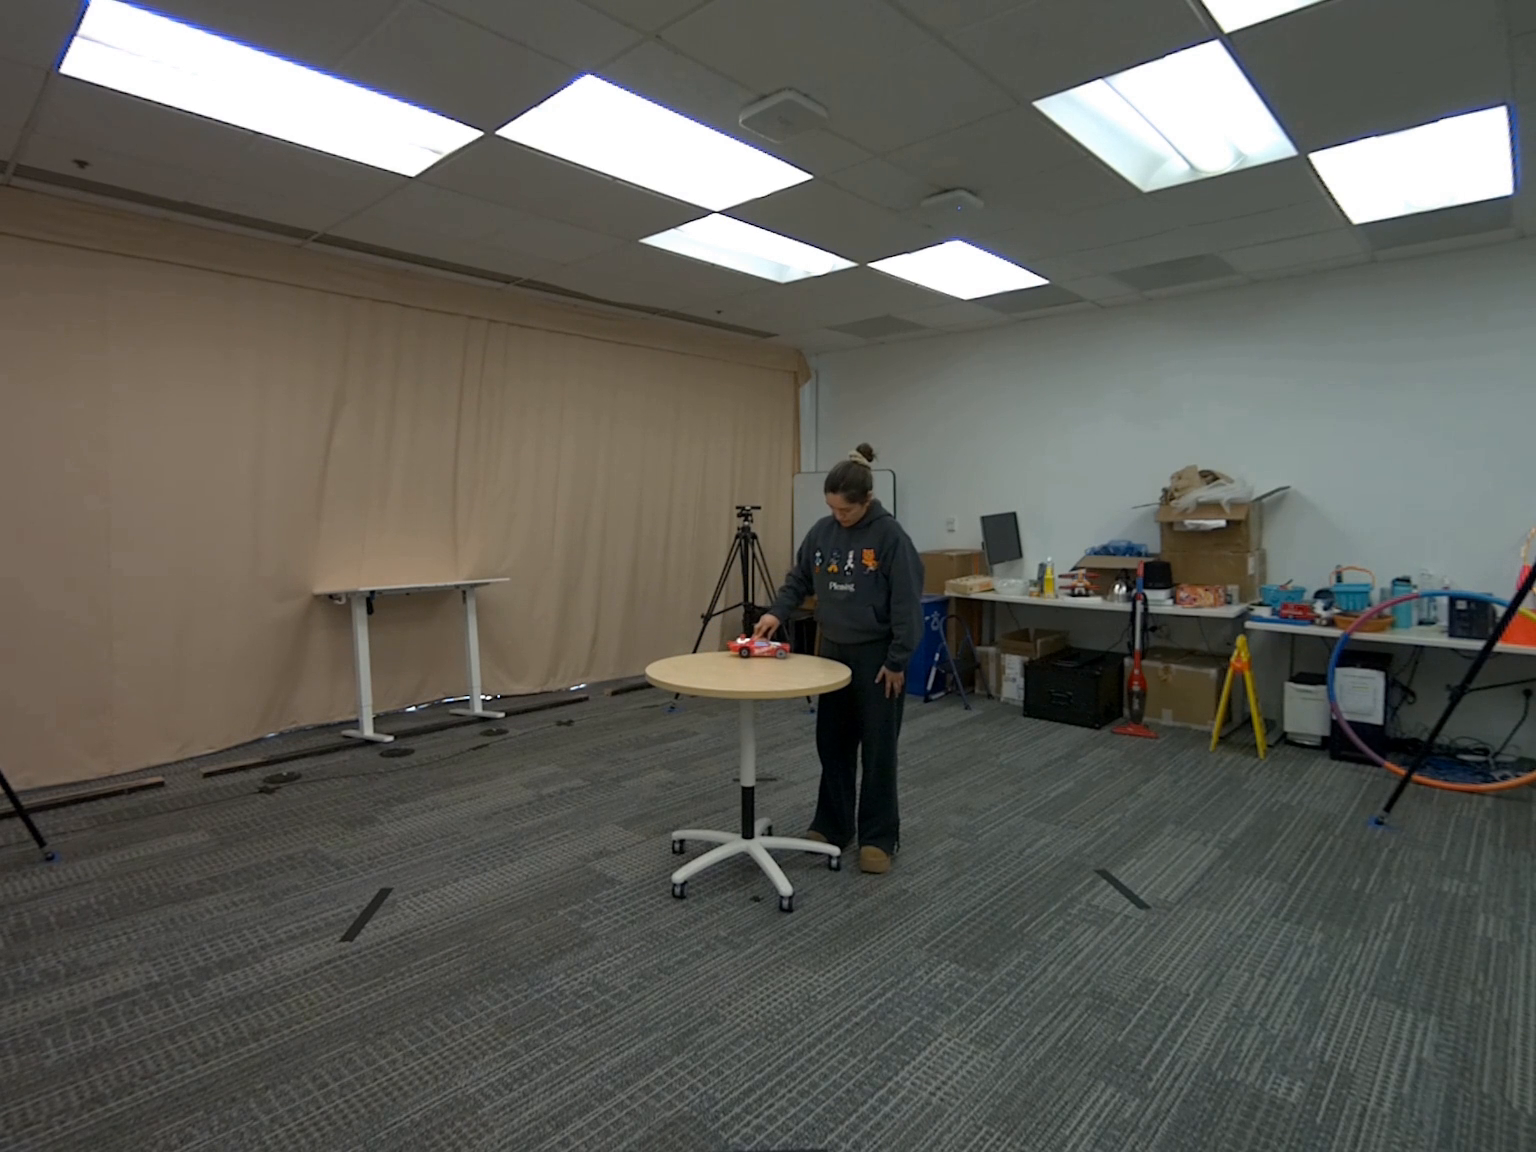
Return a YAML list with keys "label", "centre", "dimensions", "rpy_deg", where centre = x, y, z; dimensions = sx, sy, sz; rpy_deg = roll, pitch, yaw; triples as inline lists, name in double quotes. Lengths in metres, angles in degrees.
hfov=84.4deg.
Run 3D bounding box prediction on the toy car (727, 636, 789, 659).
- label: "toy car"
  centre: [-0.027, 0.293, 3.413]
  dimensions: [0.256, 0.083, 0.130]
  rpy_deg: [11, 5, 5]
